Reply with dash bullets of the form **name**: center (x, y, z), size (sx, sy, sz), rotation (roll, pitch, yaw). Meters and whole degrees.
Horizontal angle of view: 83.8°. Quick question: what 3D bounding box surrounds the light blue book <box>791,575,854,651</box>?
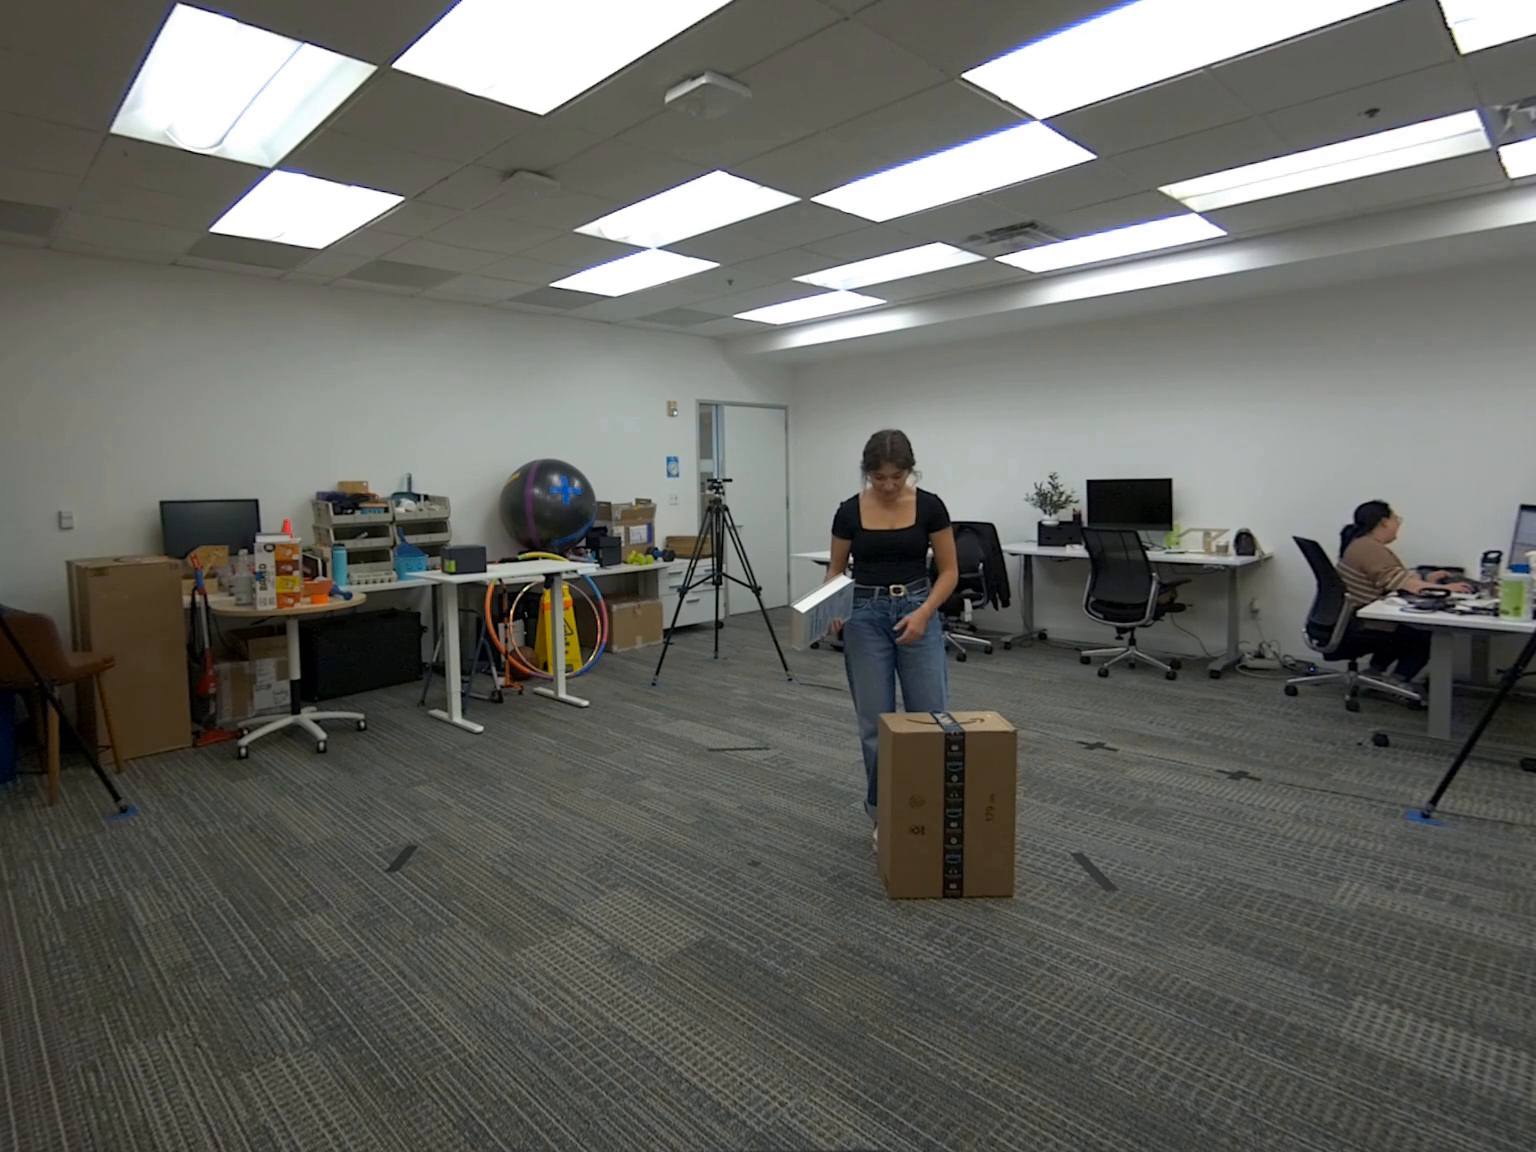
- **light blue book**: center (0.200, 0.130, 3.028), size (0.258, 0.186, 0.061), rotation (-30, 42, -29)
